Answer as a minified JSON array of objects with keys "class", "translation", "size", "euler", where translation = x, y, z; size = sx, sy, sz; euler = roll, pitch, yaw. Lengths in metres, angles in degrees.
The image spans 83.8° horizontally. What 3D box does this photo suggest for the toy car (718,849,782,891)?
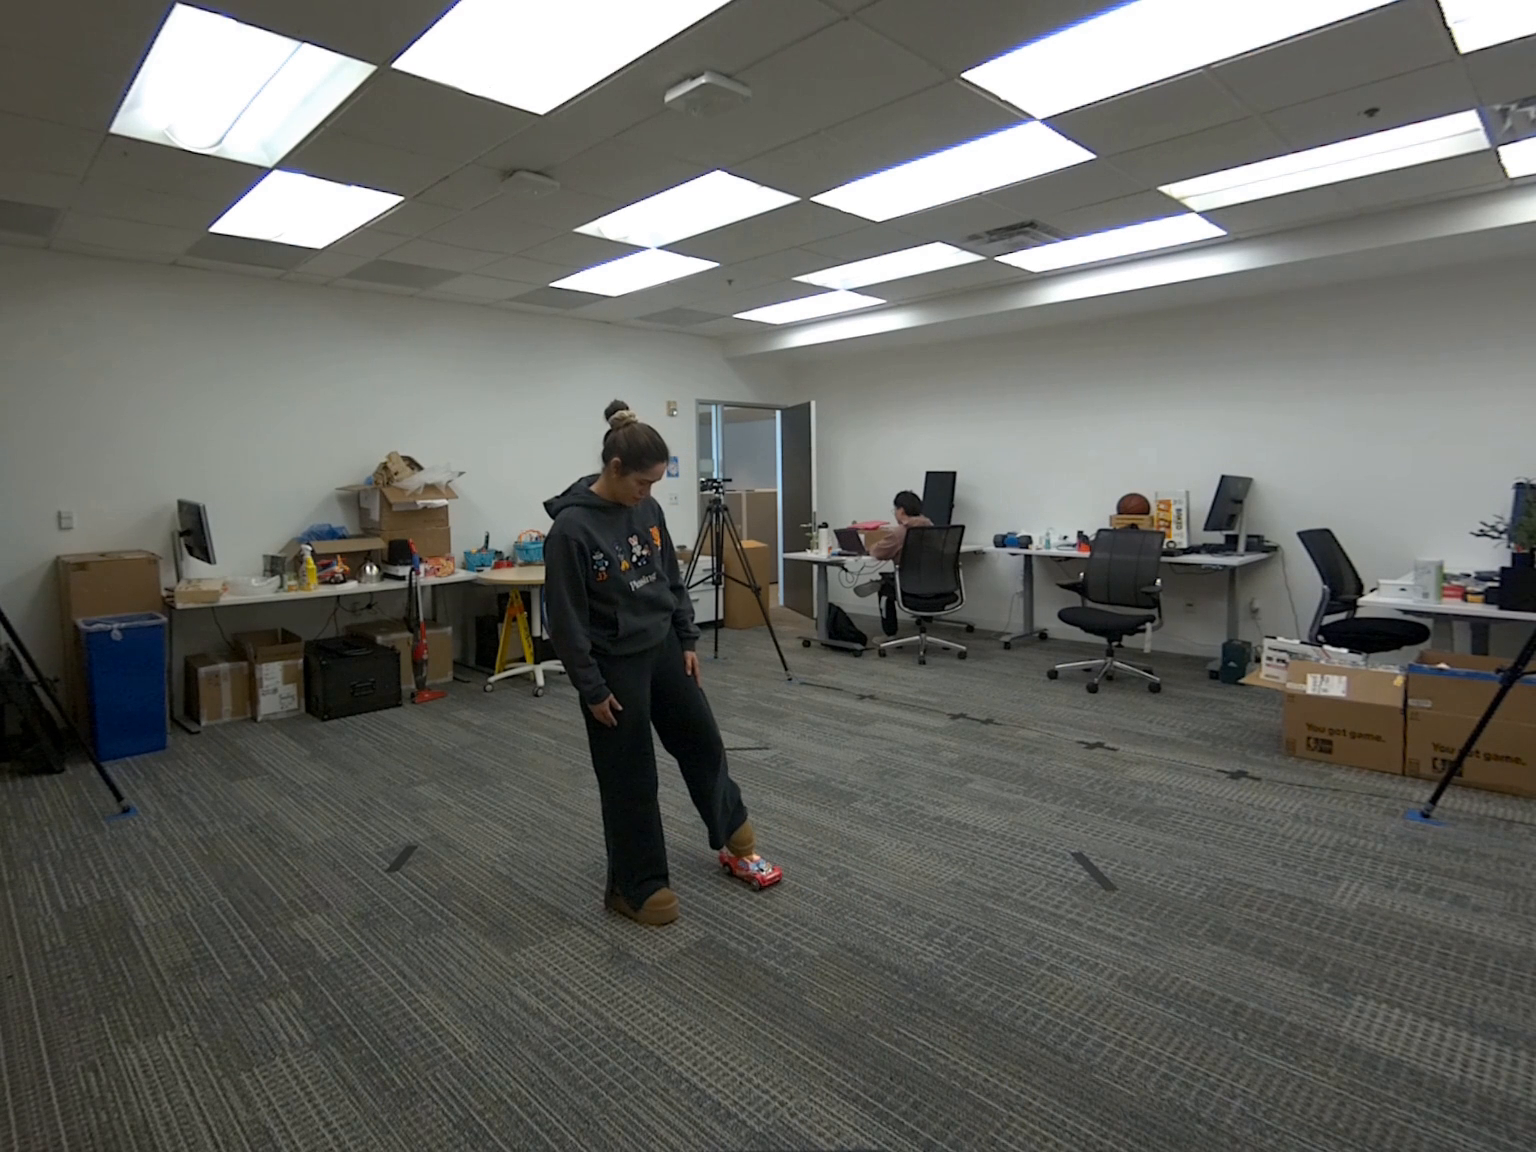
[{"class":"toy car","translation":[-0.068,1.025,2.994],"size":[0.127,0.082,0.264],"euler":[-6,18,-41]}]
